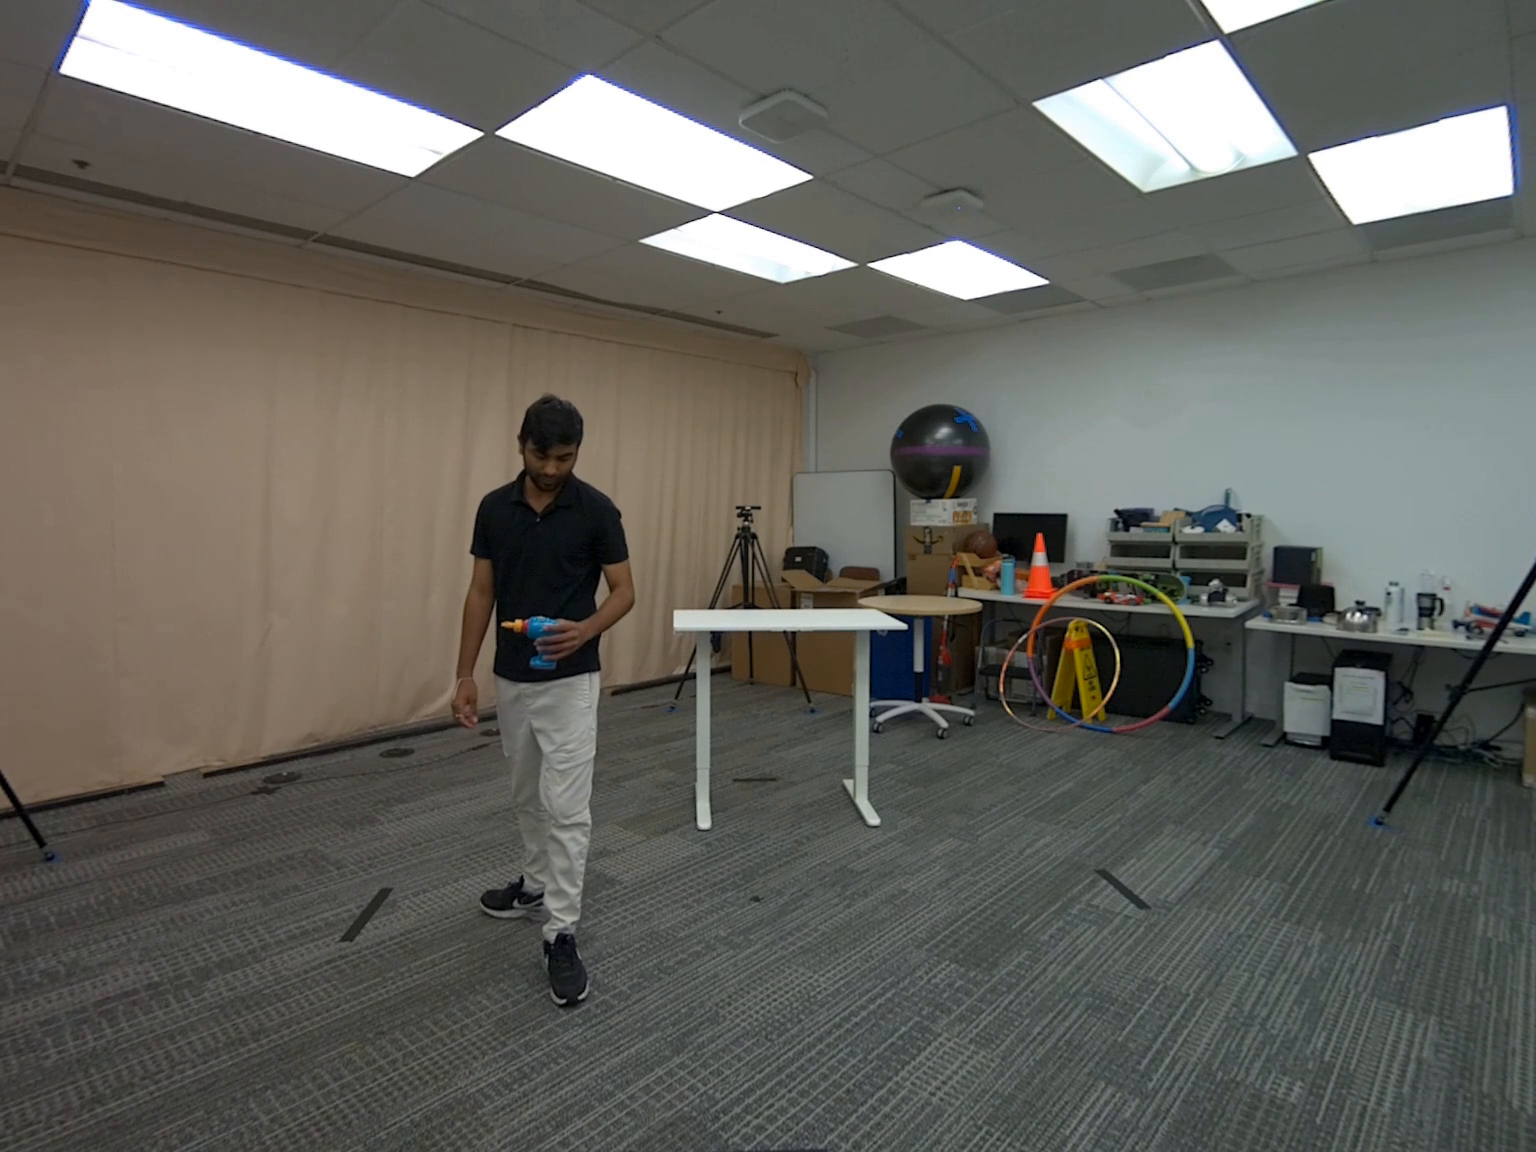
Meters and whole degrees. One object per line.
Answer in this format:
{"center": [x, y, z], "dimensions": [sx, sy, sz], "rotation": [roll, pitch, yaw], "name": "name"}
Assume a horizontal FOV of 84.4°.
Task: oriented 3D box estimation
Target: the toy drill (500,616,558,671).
{"center": [-0.647, 0.179, 2.324], "dimensions": [0.168, 0.145, 0.062], "rotation": [6, 17, -11], "name": "toy drill"}
